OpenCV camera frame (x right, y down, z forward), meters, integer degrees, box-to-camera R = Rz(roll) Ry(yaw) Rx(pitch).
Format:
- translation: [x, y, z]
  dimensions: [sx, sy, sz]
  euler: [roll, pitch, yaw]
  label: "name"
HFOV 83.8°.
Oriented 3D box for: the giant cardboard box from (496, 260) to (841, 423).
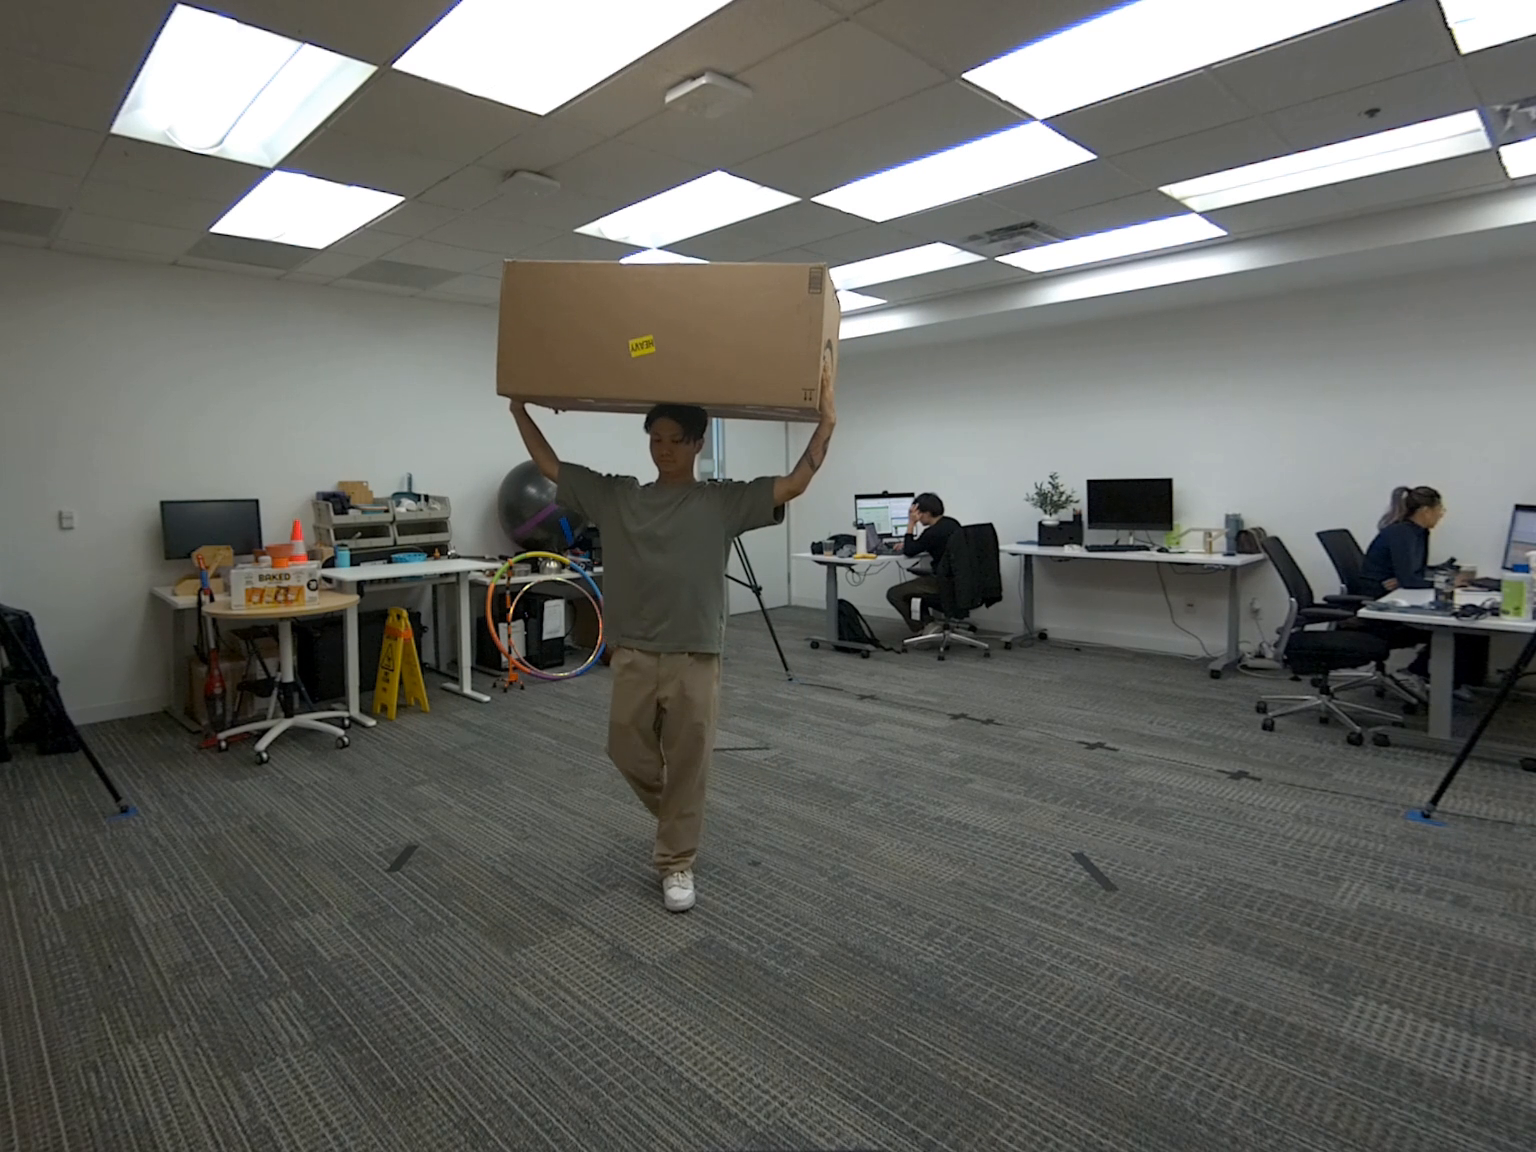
- translation: [-0.300, -0.764, 2.864]
  dimensions: [1.039, 0.425, 0.572]
  euler: [5, 5, 11]
  label: "giant cardboard box"
